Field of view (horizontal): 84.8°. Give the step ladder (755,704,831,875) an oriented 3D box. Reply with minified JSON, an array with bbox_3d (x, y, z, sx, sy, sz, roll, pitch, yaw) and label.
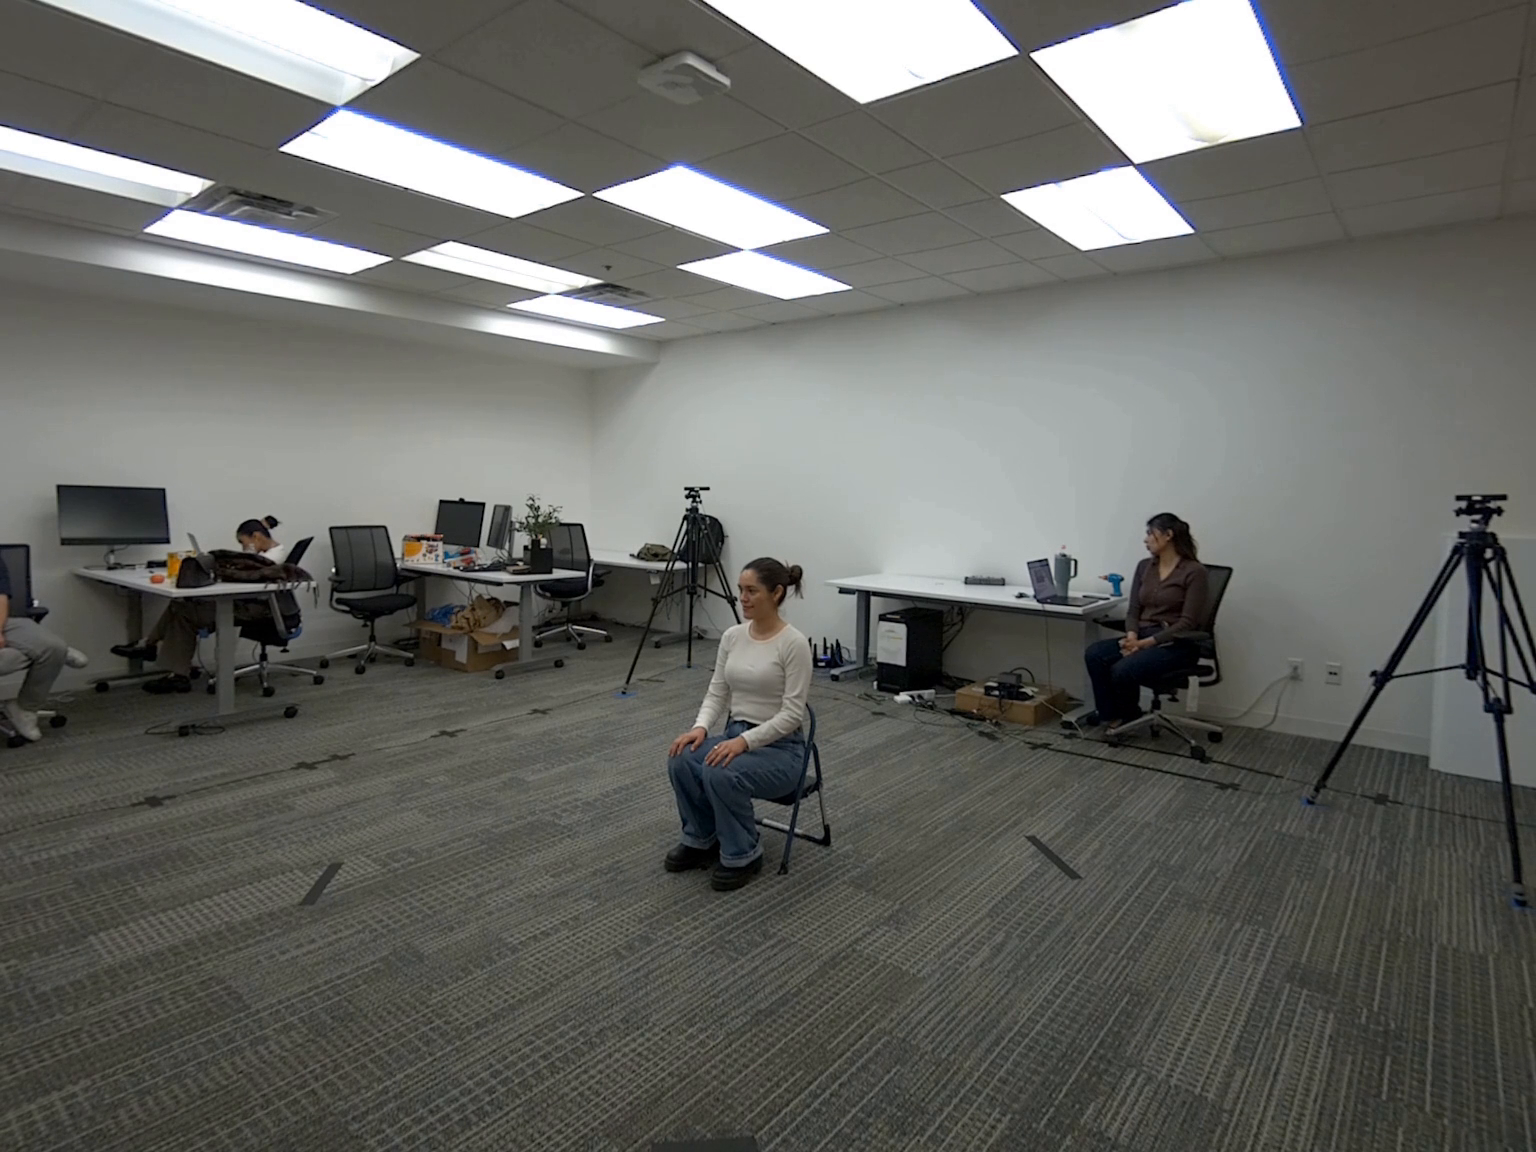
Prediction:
[{"bbox_3d":[-0.014,0.742,3.317,0.445,0.604,0.339,4,4,37],"label":"step ladder"}]
